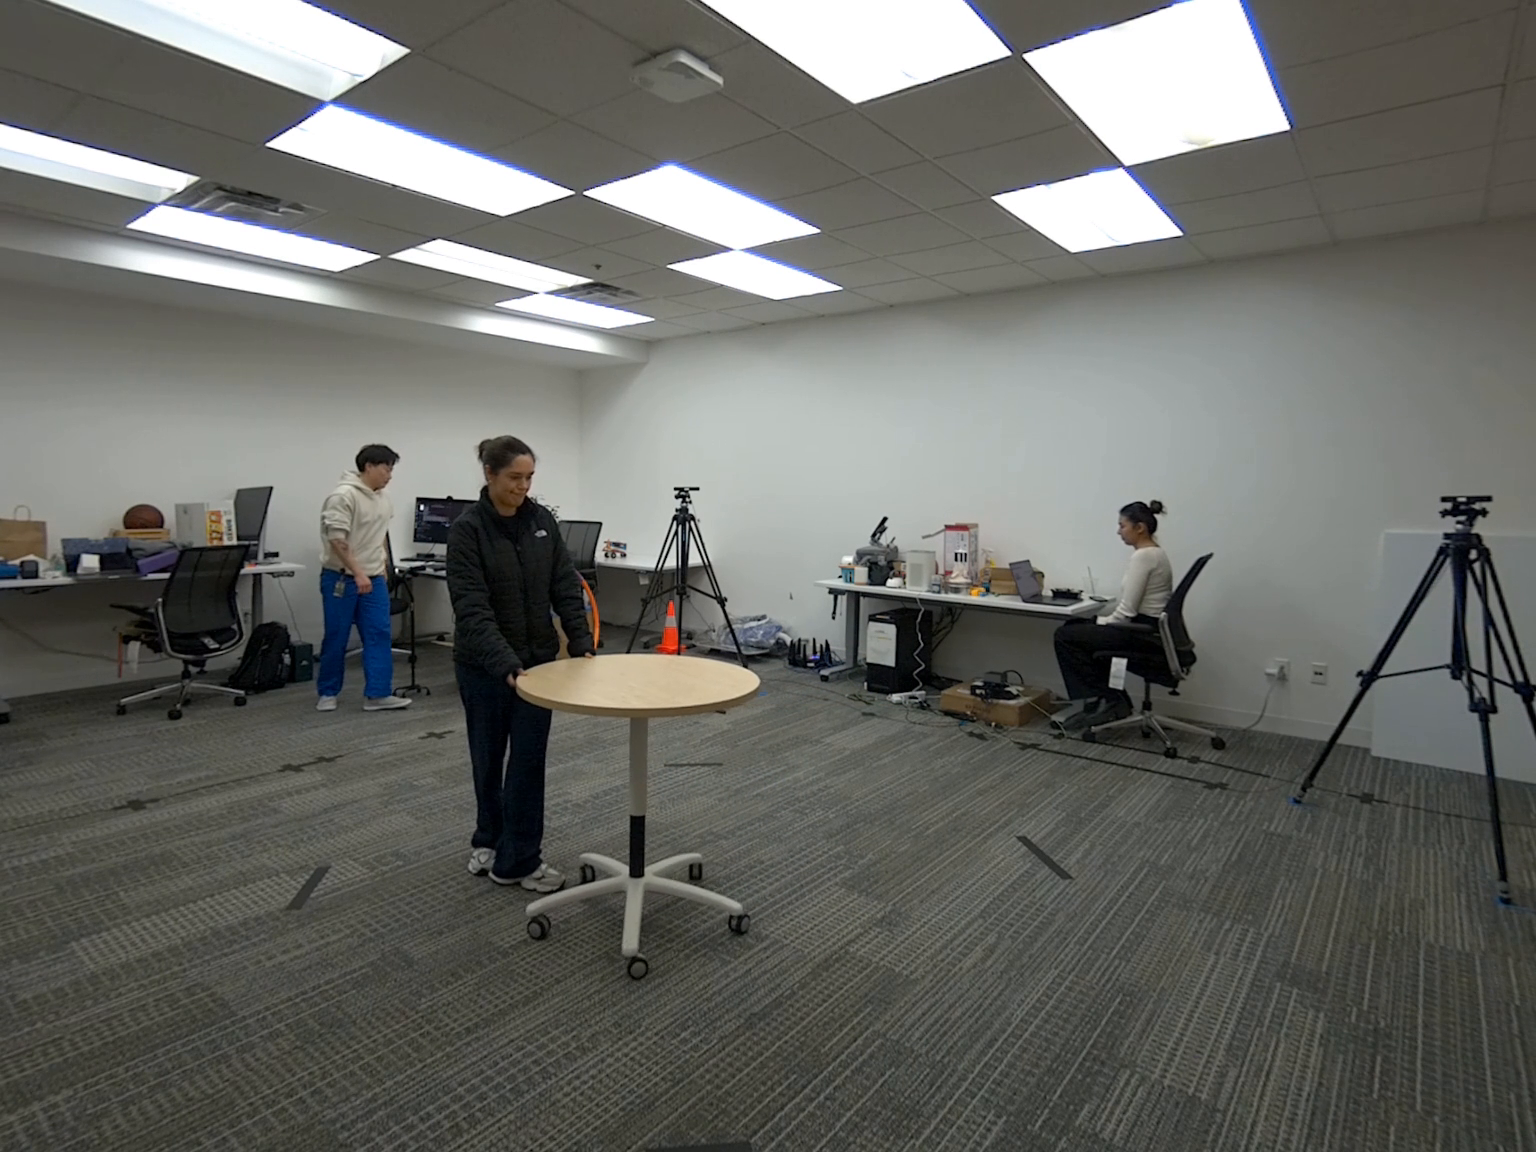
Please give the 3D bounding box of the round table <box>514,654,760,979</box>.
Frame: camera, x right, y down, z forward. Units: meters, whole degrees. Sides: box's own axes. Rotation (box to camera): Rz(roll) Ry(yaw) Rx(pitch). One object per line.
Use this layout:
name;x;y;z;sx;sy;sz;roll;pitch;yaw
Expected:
round table;-0.409;0.703;2.752;0.784;0.783;0.789;1;5;-2
